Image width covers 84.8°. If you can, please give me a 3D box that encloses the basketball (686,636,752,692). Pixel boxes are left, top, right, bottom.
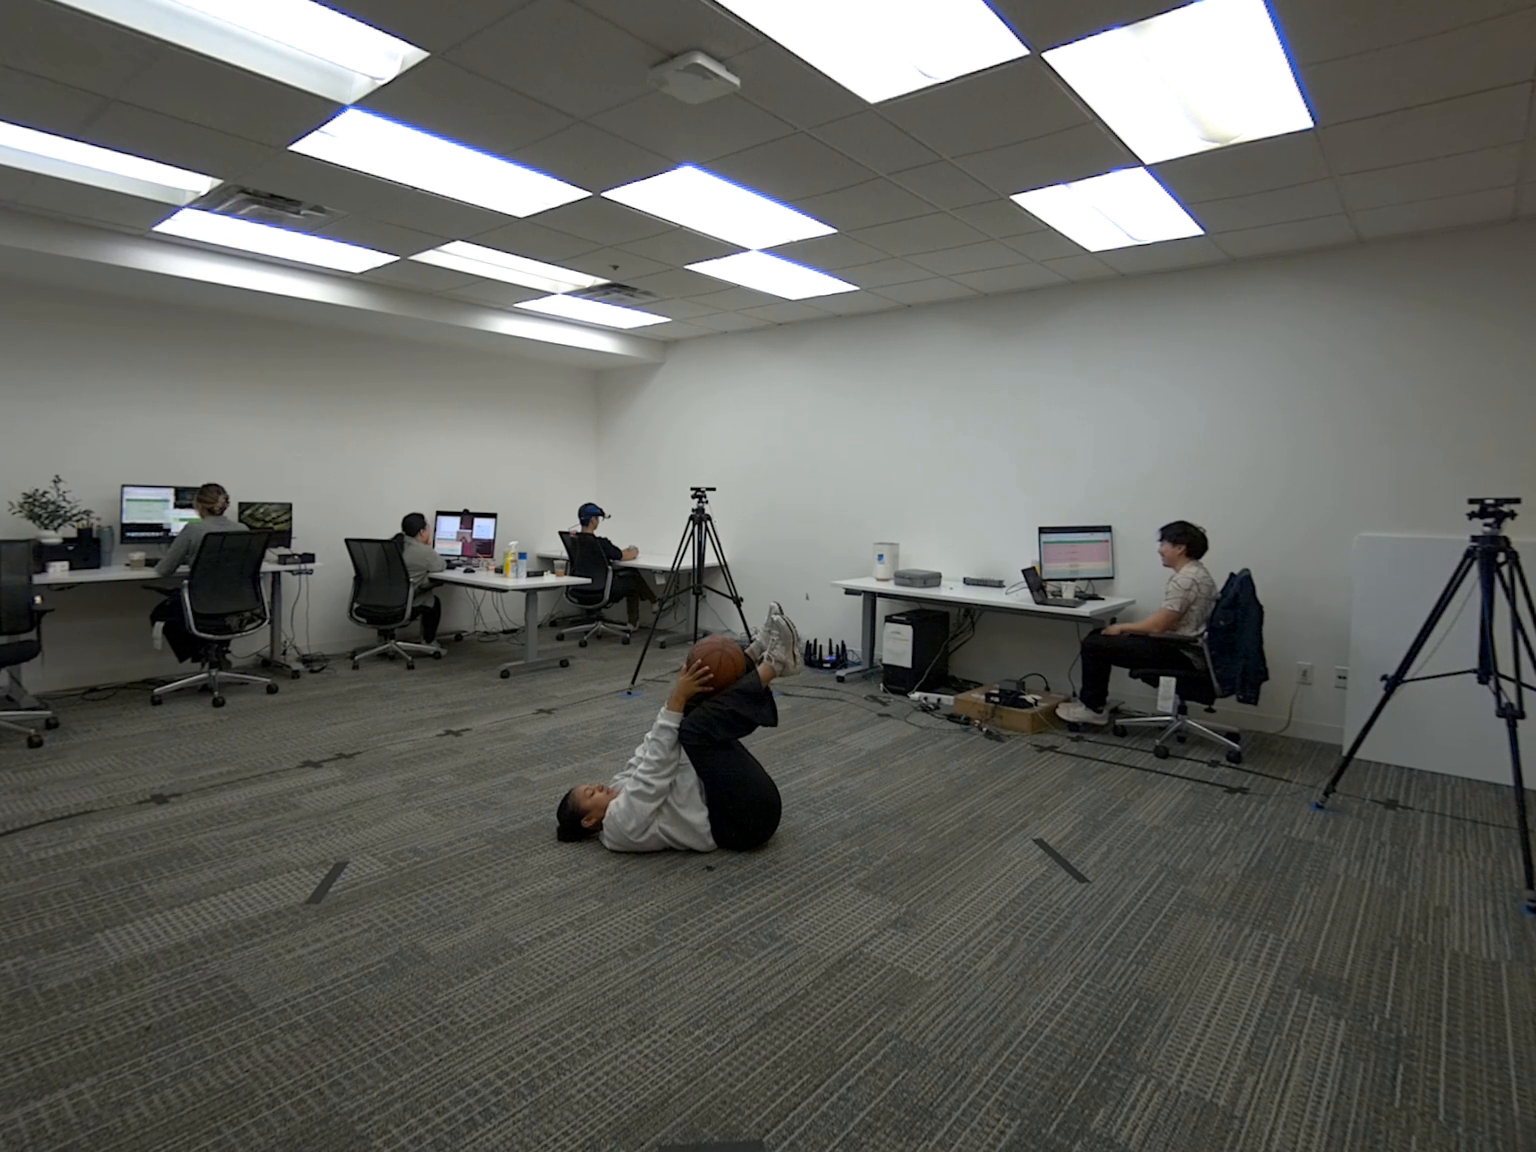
[{"bbox_3d":[-0.202,0.345,3.366,0.235,0.235,0.237,1,4,-2],"label":"basketball"}]
